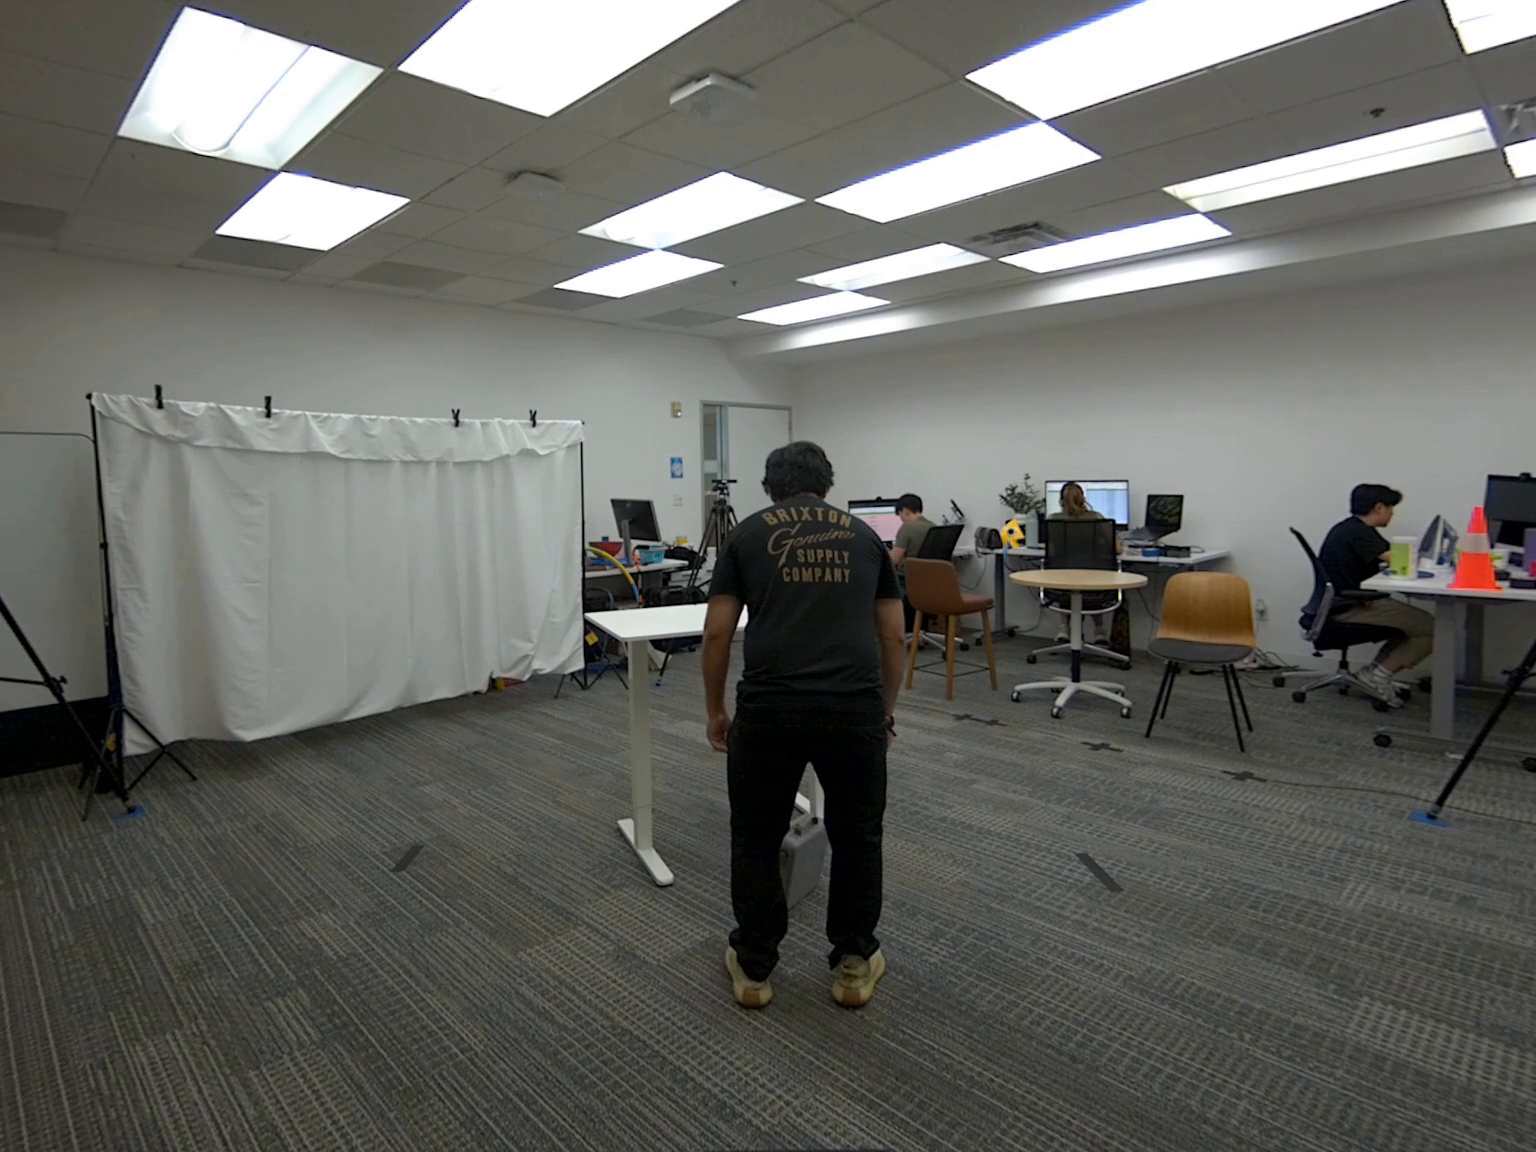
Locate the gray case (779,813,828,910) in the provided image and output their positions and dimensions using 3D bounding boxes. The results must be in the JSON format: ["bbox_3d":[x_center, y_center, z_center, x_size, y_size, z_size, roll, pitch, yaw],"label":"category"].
[{"bbox_3d":[0.103,0.944,2.843,0.107,0.259,0.251,13,11,31],"label":"gray case"}]
